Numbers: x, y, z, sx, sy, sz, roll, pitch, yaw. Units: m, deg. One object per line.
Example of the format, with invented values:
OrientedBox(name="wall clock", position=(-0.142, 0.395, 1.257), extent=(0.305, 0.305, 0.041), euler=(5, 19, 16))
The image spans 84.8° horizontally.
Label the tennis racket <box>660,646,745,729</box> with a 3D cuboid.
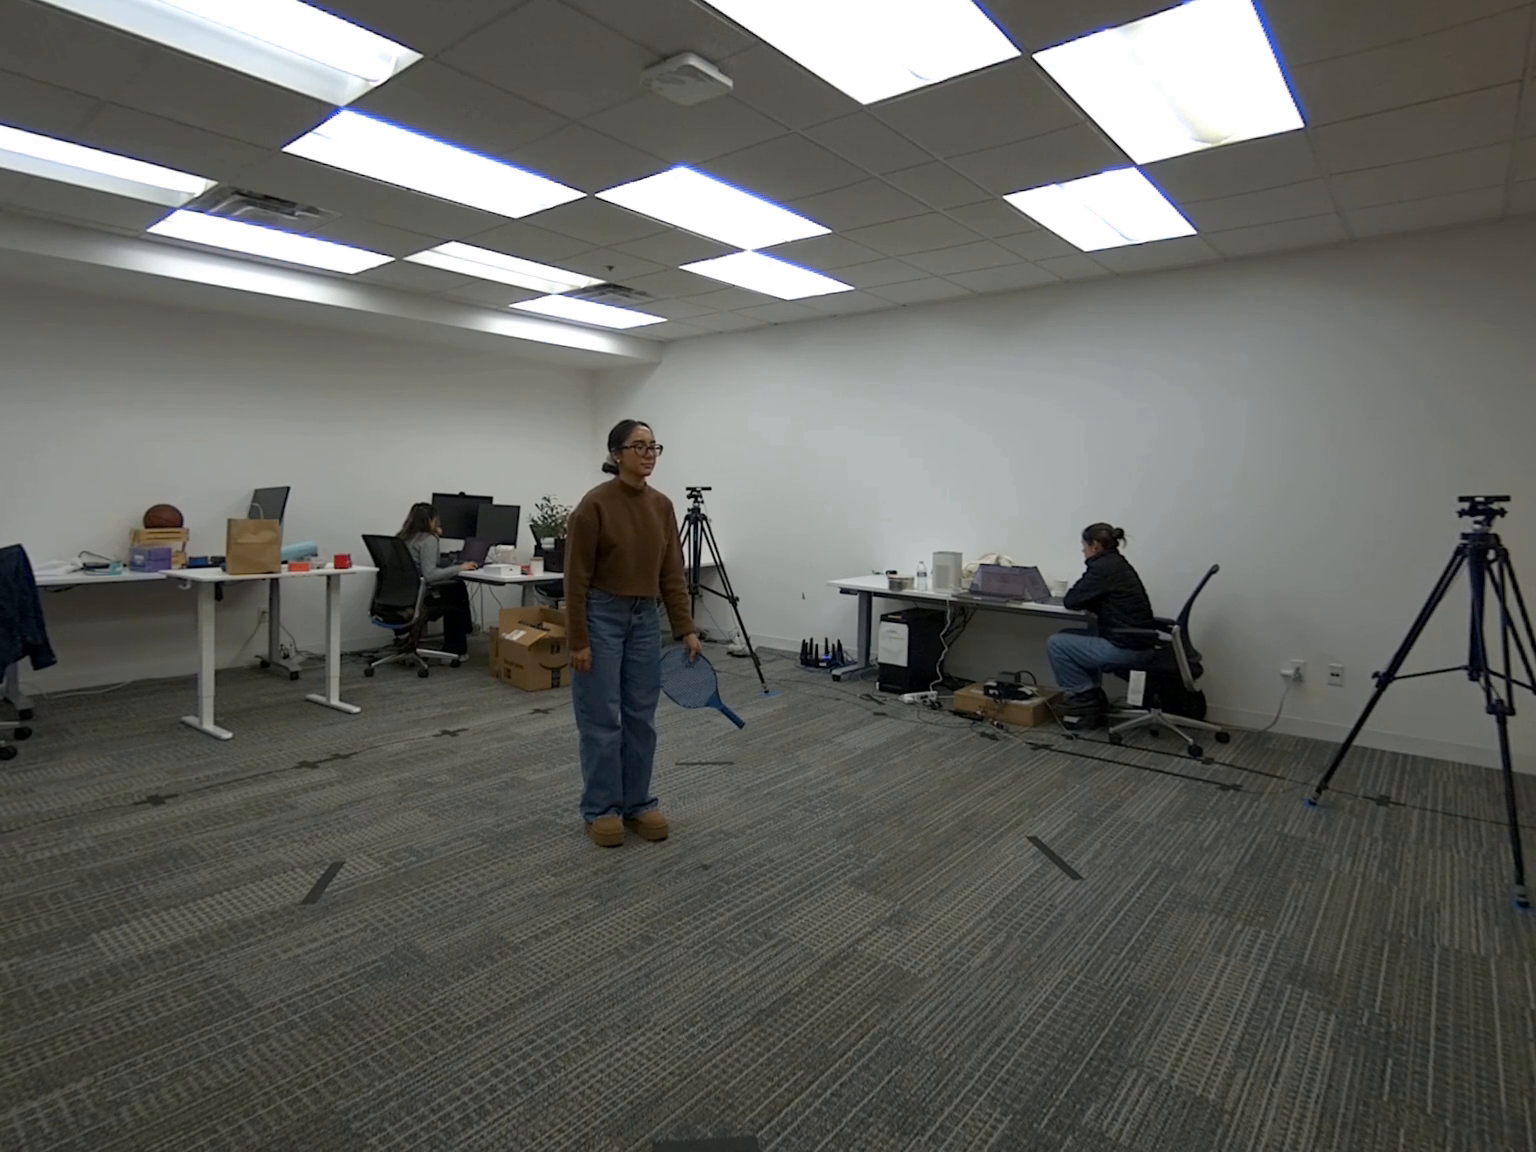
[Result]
OrientedBox(name="tennis racket", position=(-0.262, 0.438, 3.332), extent=(0.429, 0.214, 0.032), euler=(40, -13, -5))
